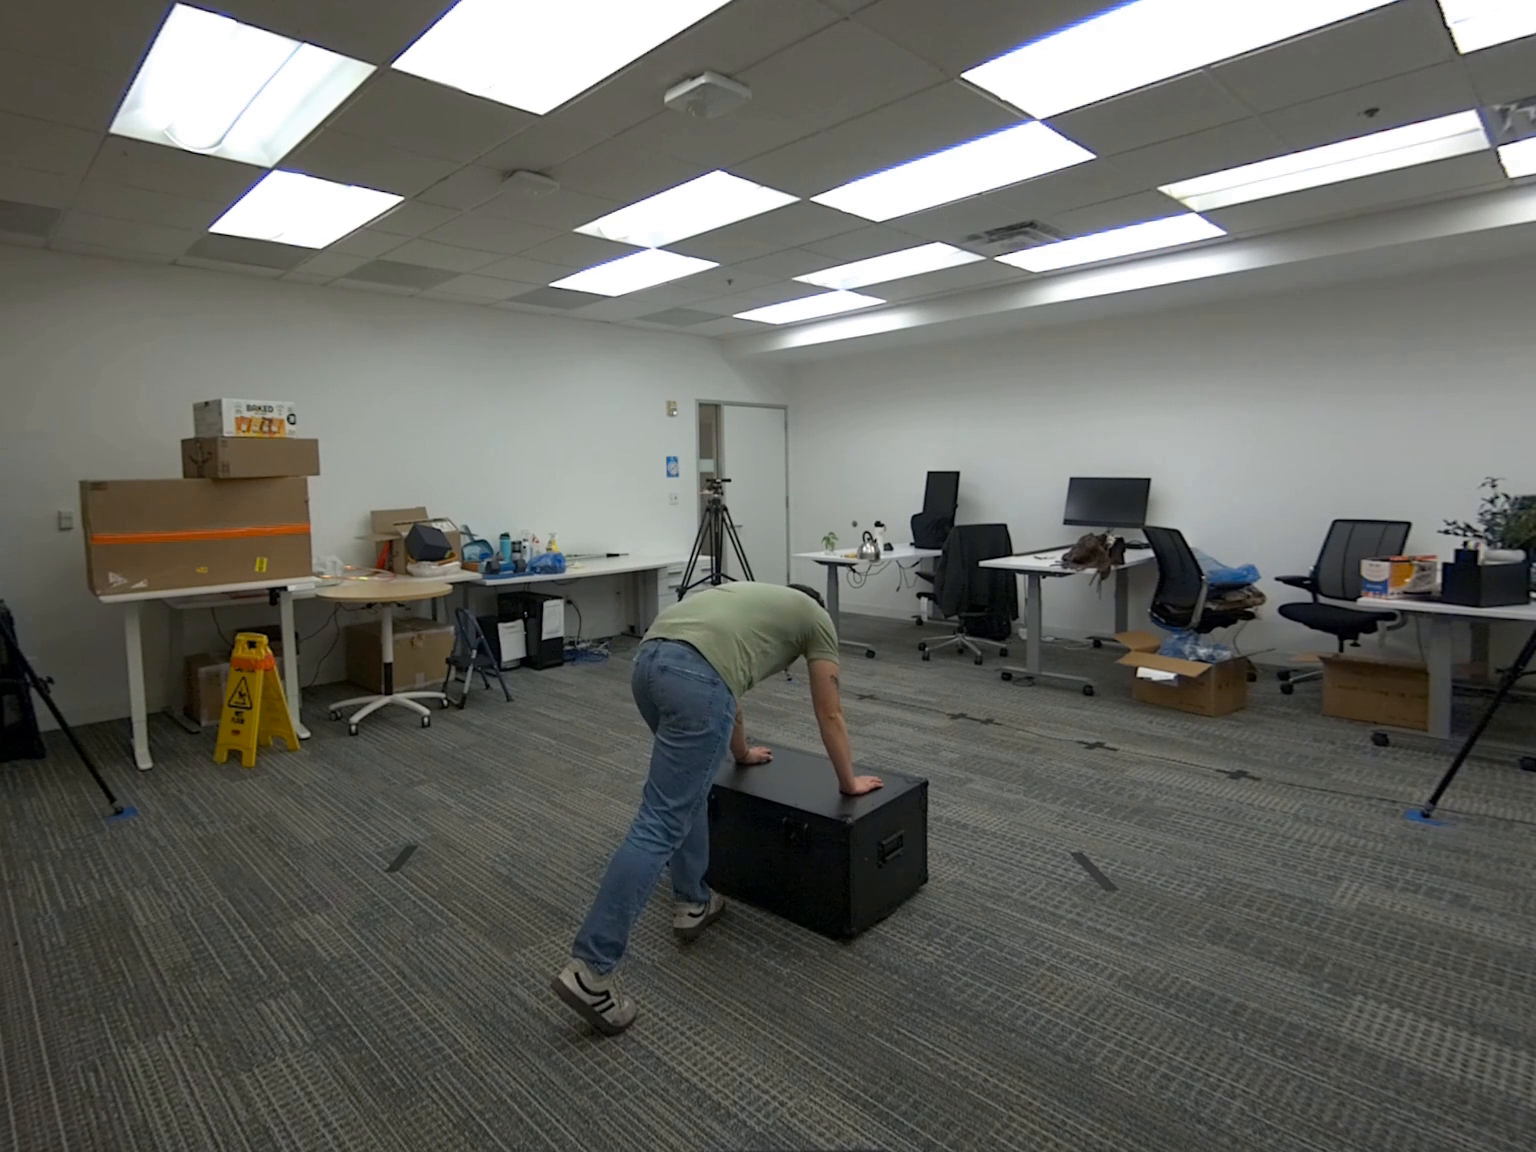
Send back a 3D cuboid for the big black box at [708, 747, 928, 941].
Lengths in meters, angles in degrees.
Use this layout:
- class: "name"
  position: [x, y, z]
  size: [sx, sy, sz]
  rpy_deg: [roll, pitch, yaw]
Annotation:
- class: "big black box"
  position: [0.063, 0.870, 2.984]
  size: [0.888, 0.394, 0.508]
  rpy_deg: [6, 8, 40]
